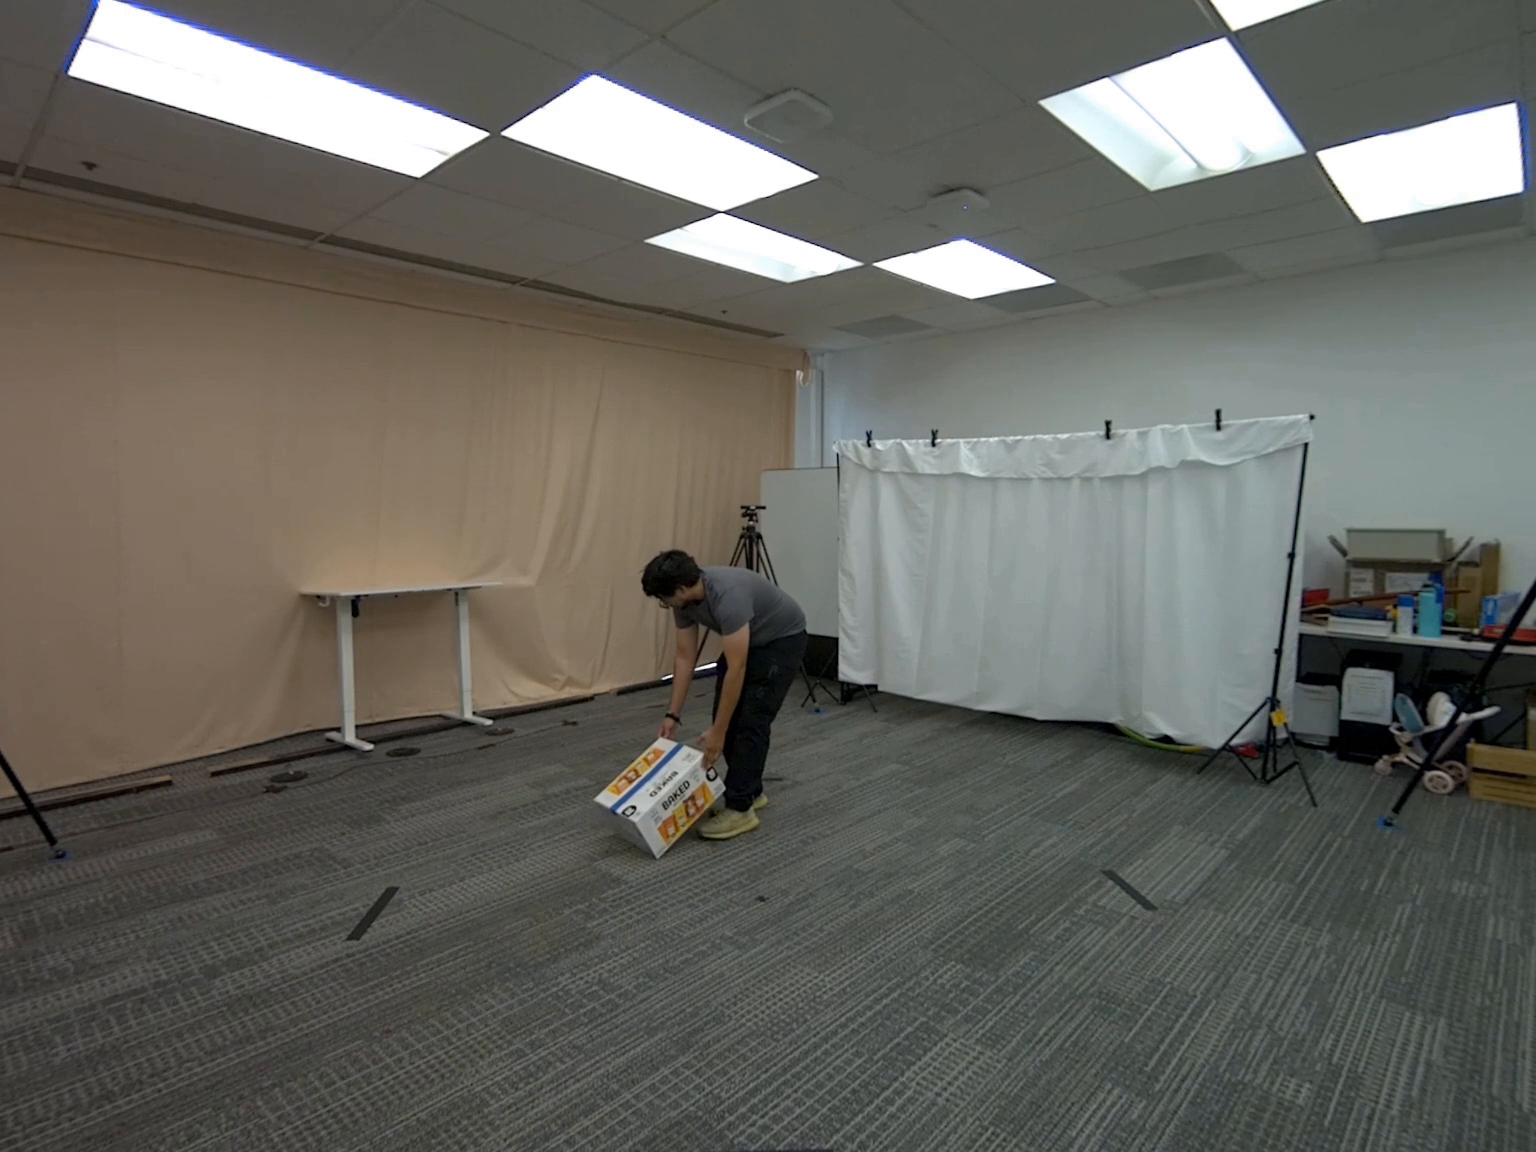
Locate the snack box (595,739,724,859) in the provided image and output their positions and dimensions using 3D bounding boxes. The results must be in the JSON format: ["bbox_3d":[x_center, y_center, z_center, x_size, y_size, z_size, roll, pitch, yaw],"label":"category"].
[{"bbox_3d":[-0.453,0.914,3.522,0.401,0.201,0.351,-41,25,-30],"label":"snack box"}]
